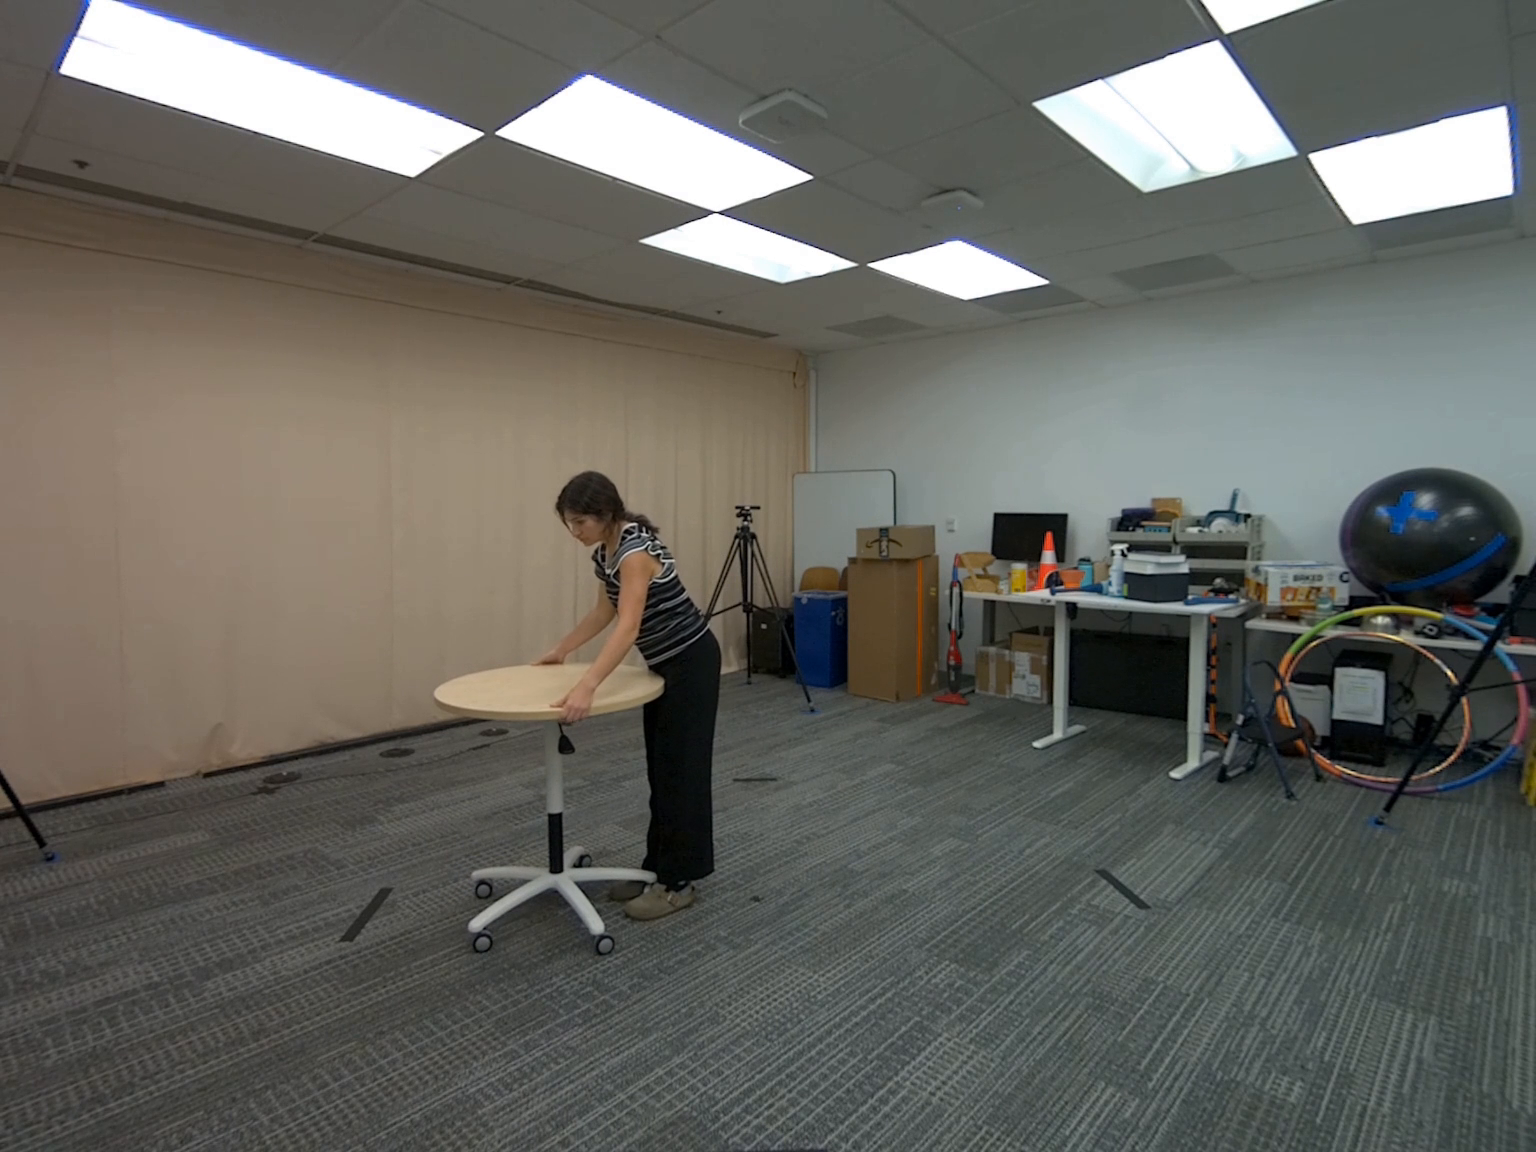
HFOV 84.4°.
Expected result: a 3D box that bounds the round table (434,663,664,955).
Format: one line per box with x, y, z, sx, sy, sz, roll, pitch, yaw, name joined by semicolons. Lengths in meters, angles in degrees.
-0.733;0.767;2.891;0.763;0.792;0.766;-1;4;-2;round table
